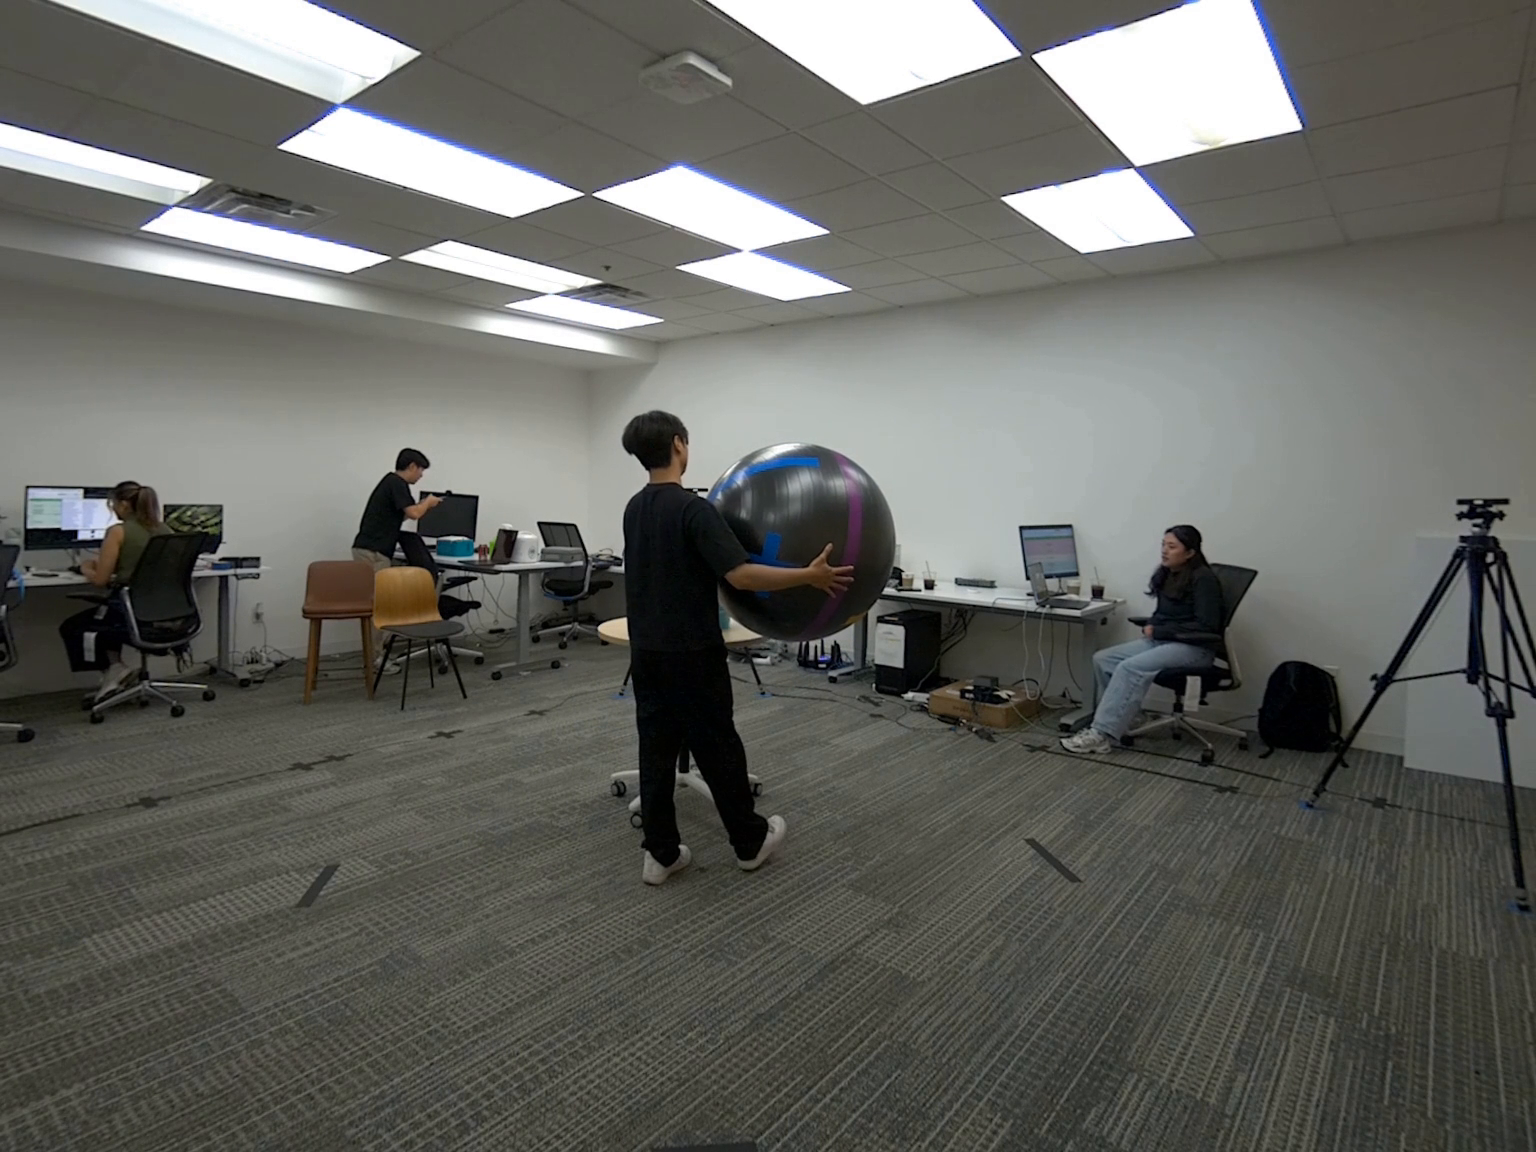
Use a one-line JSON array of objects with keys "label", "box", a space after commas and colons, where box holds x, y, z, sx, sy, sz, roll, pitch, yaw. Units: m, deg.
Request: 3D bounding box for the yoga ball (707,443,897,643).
[{"label": "yoga ball", "box": [0.109, -0.128, 3.275, 0.757, 0.755, 0.762, 1, 4, -2]}]
